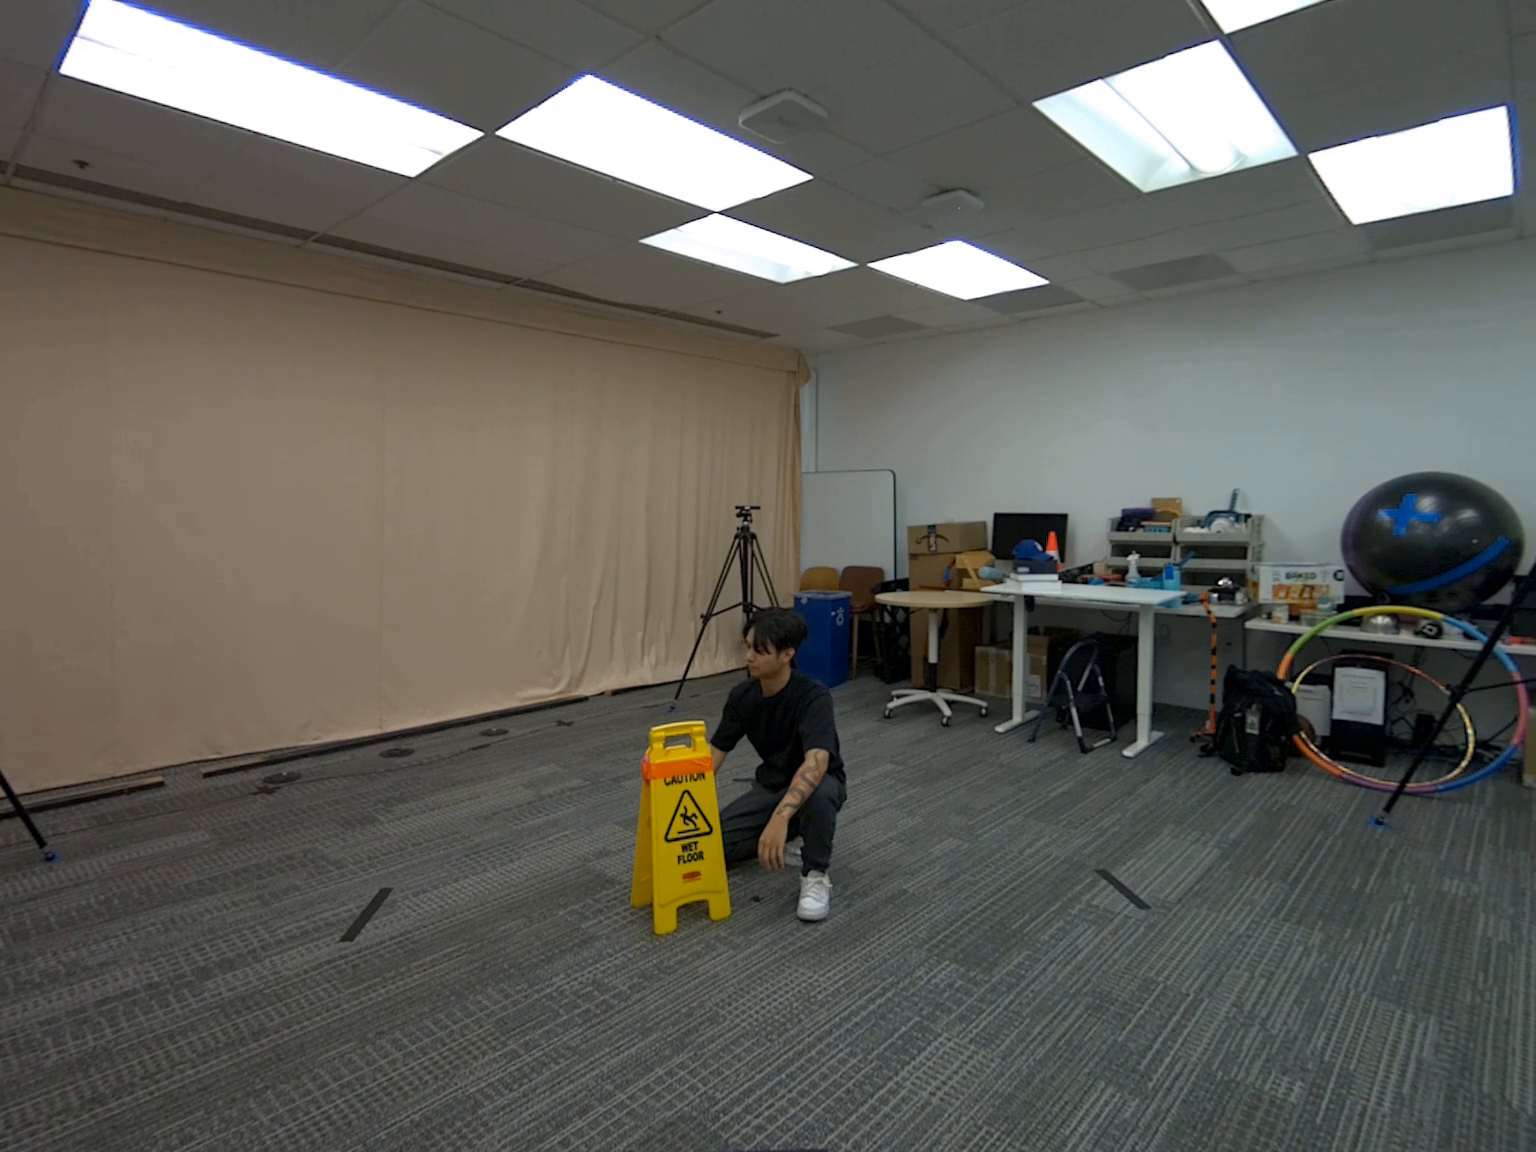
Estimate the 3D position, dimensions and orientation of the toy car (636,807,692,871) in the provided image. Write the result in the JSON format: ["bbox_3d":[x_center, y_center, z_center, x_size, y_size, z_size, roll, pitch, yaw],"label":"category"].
[{"bbox_3d":[-0.380,0.966,3.111,0.129,0.248,0.086,-23,50,-10],"label":"toy car"}]
